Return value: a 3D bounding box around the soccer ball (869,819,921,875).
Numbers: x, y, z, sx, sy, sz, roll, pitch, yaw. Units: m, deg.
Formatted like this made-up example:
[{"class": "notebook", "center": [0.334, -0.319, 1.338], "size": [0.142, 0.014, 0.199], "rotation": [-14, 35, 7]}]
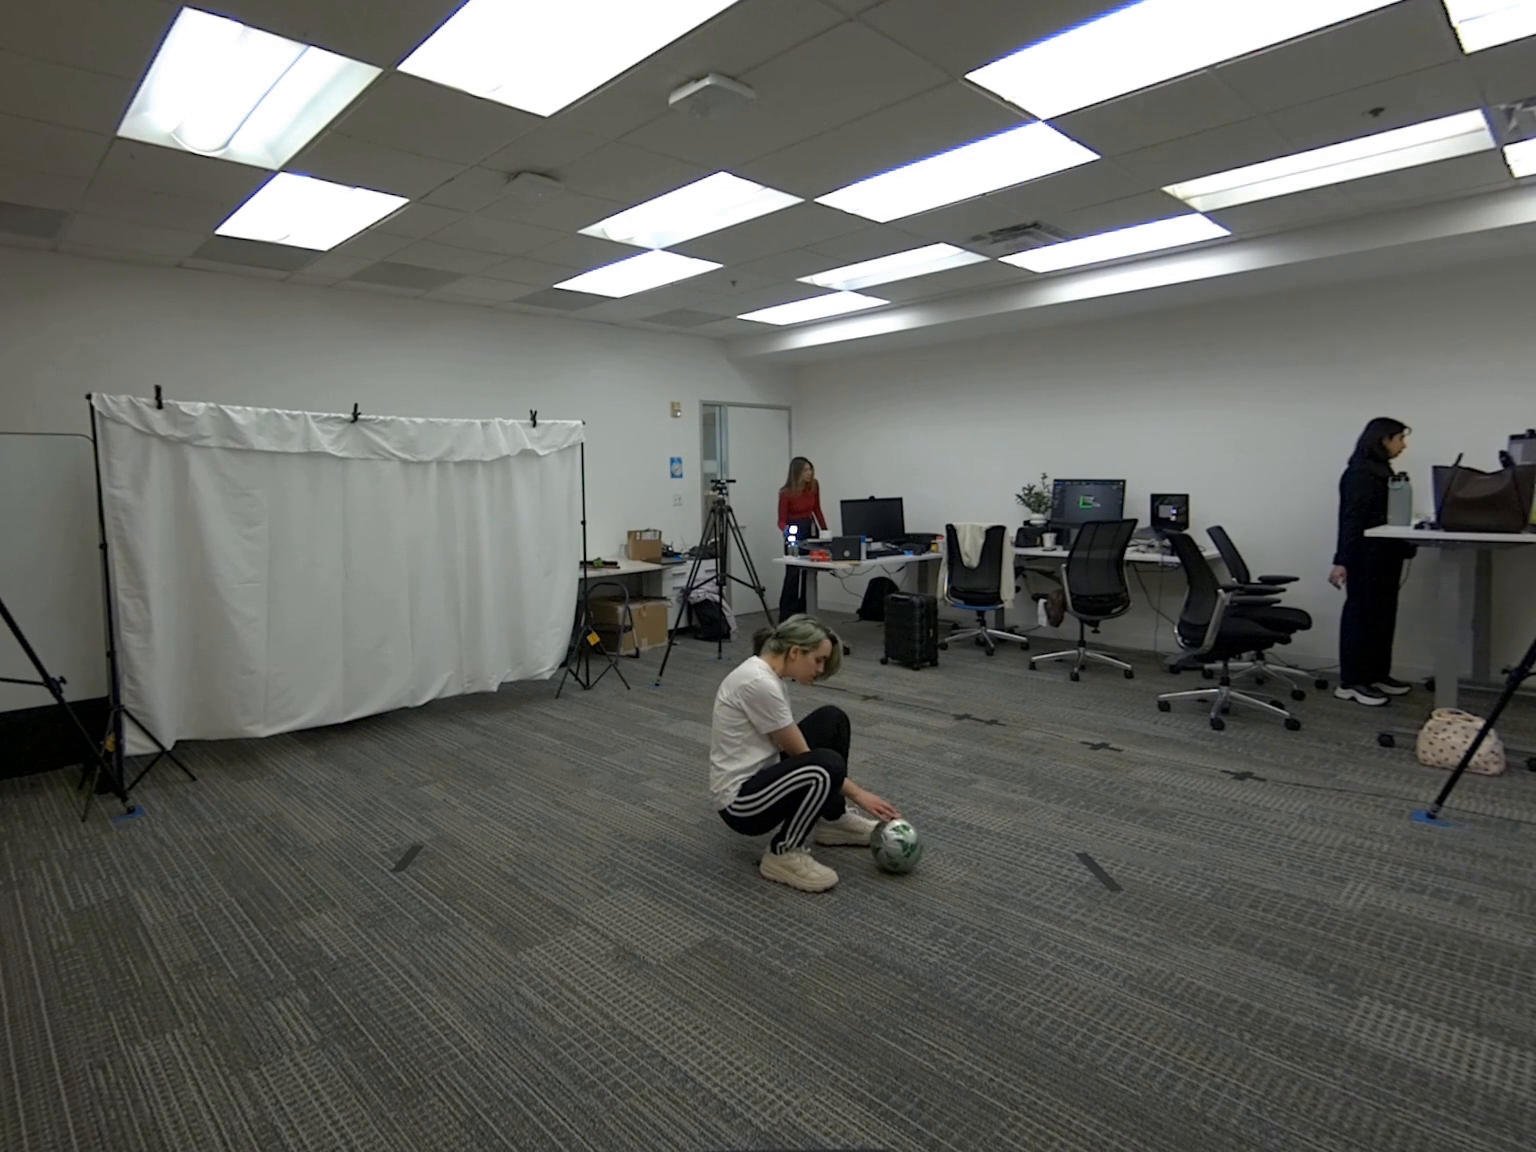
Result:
[{"class": "soccer ball", "center": [0.447, 0.944, 3.036], "size": [0.187, 0.187, 0.188], "rotation": [-1, 5, -2]}]
